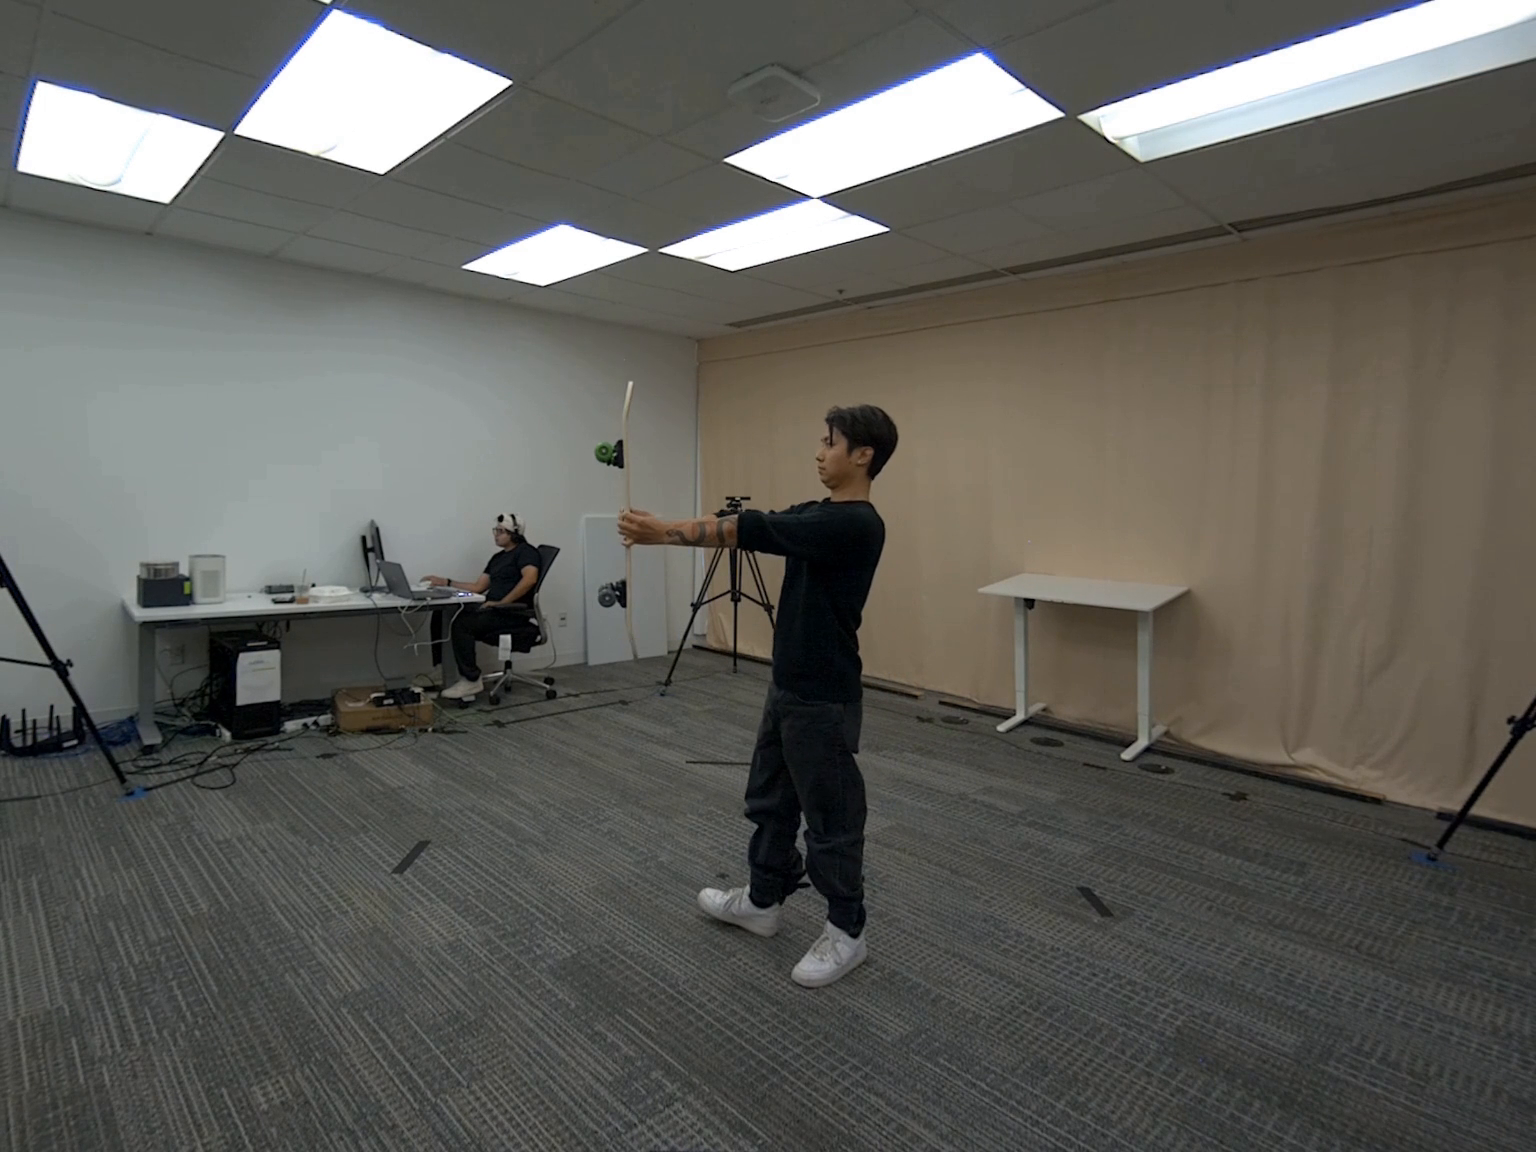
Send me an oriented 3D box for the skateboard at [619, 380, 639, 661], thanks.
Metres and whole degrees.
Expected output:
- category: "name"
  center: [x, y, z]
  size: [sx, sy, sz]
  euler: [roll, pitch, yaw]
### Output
- category: "skateboard"
  center: [-0.428, -0.141, 2.357]
  size: [0.109, 0.783, 0.196]
  euler: [-2, 4, -12]
